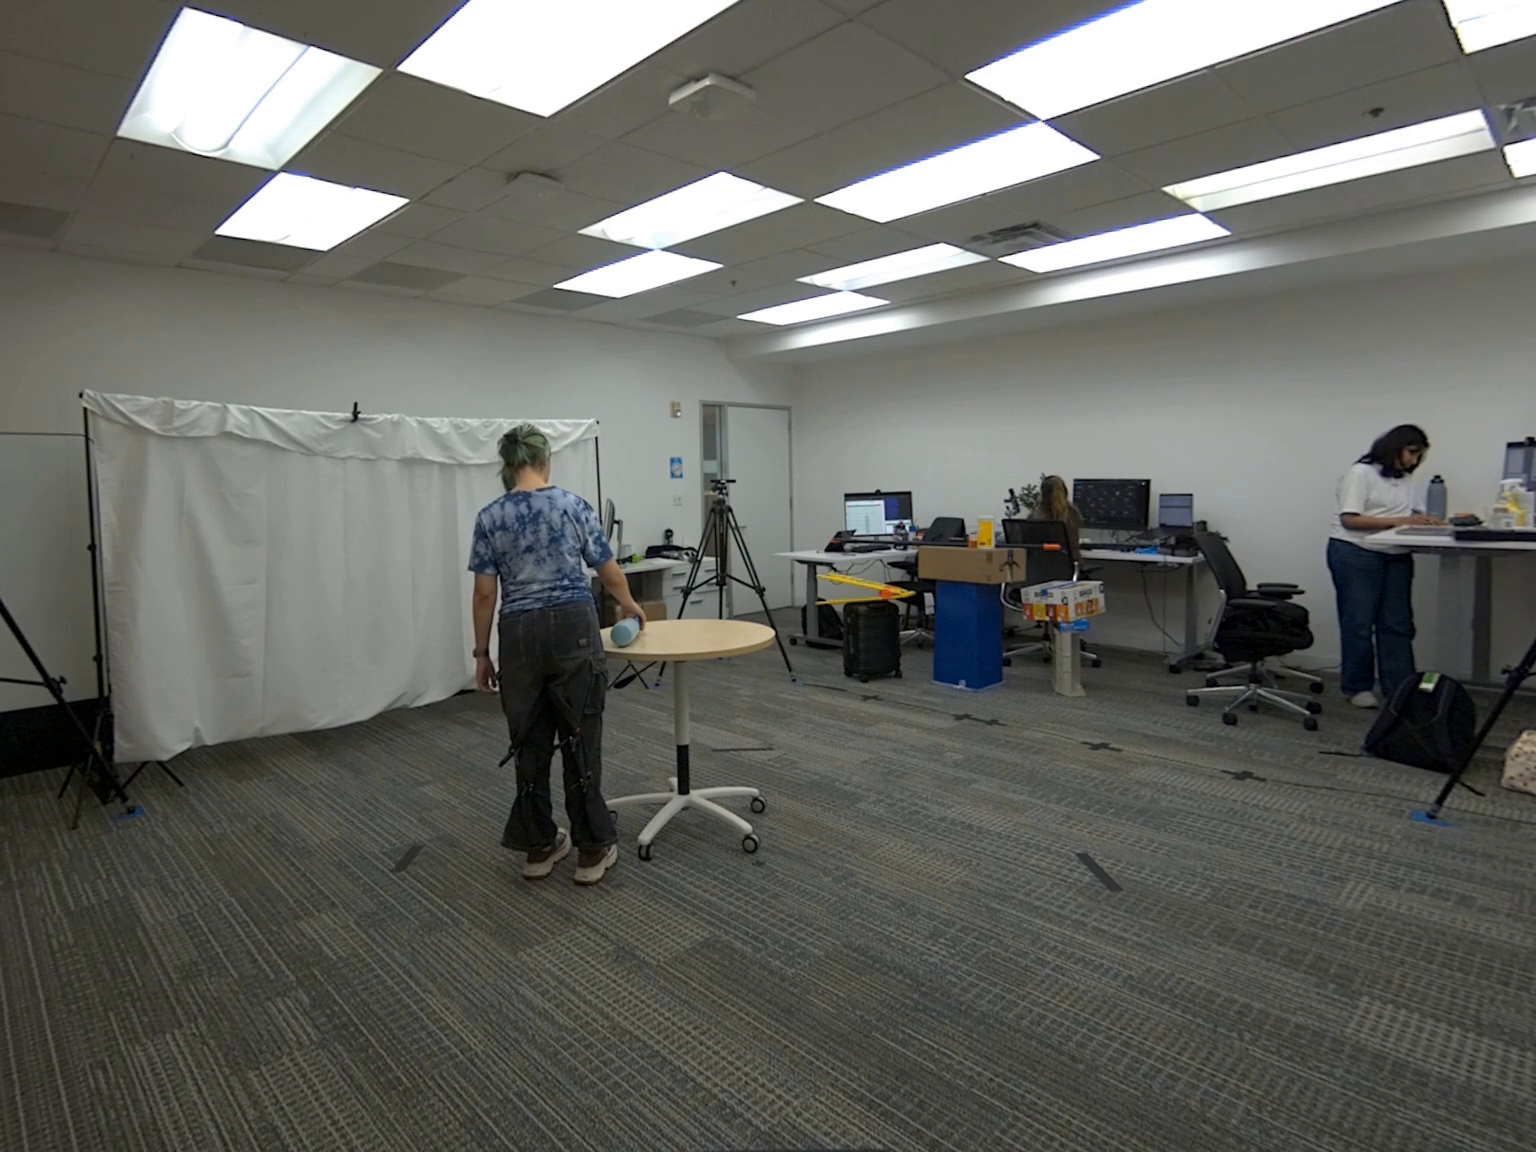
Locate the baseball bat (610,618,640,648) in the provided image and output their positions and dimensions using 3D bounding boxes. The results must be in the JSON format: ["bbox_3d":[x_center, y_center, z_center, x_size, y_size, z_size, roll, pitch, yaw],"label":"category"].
[{"bbox_3d":[-0.545,0.201,3.423,0.089,0.089,0.545,-1,4,-3],"label":"baseball bat"}]
